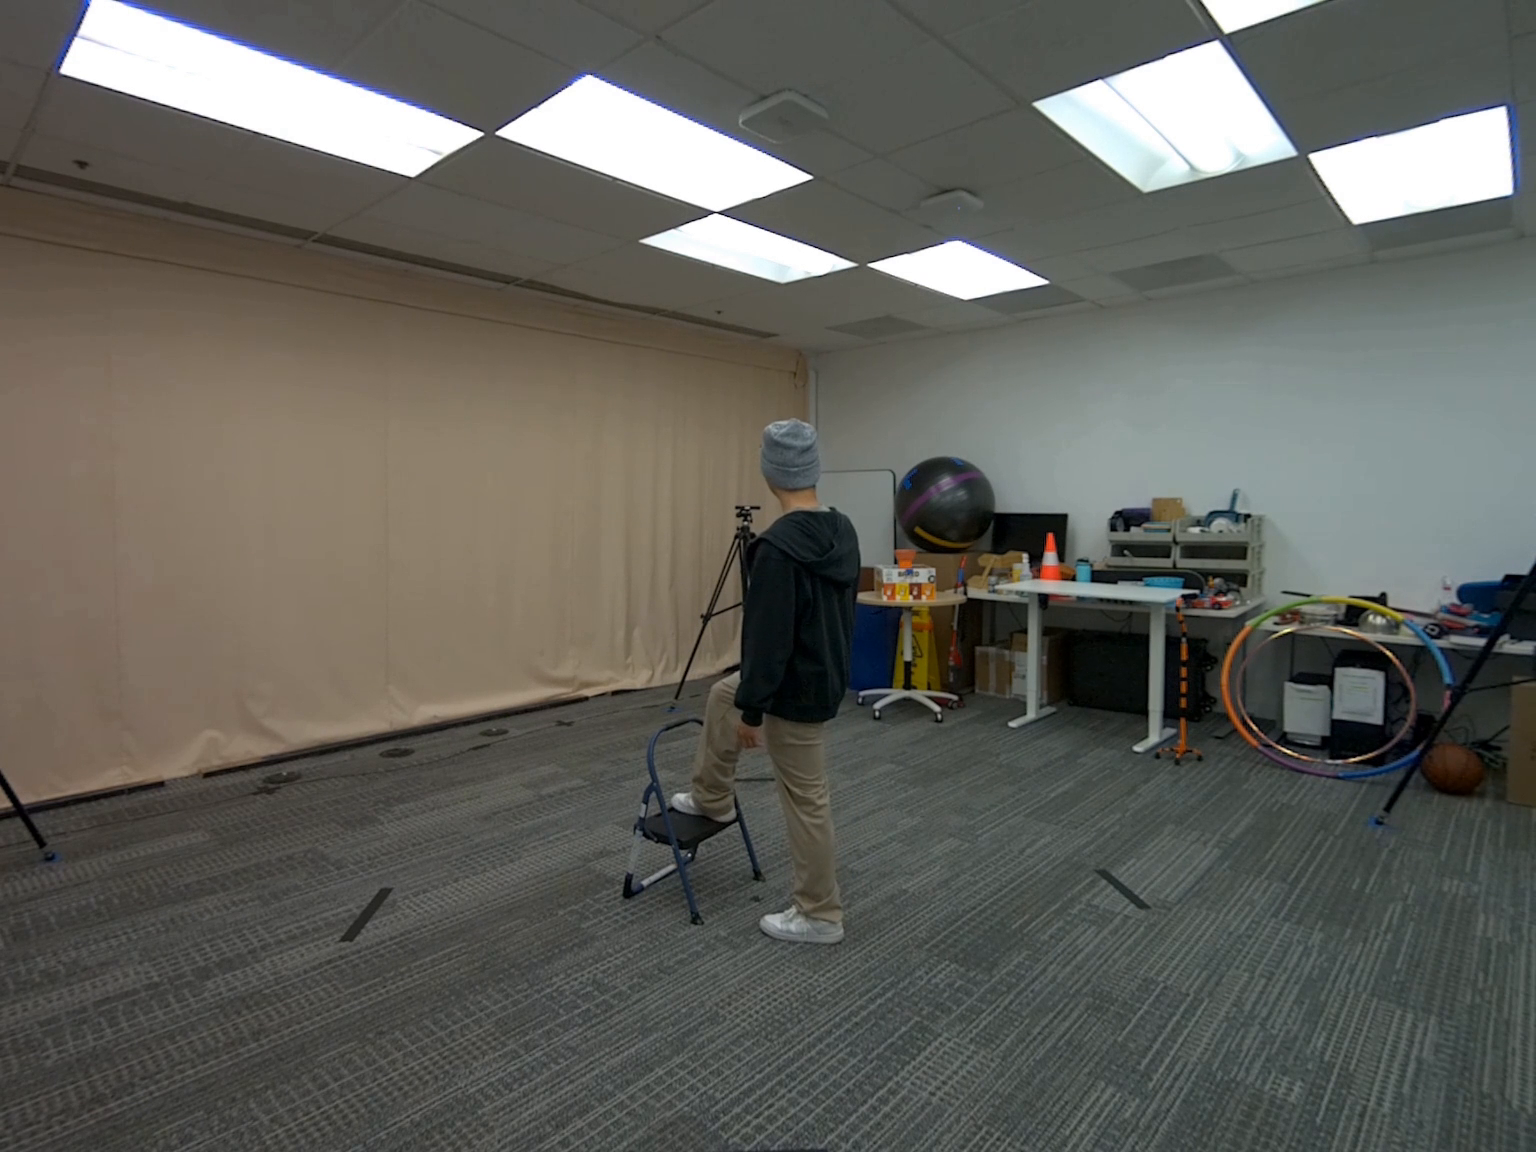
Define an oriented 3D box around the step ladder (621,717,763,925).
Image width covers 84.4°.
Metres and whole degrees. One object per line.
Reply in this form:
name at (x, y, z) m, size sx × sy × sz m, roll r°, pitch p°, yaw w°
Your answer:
step ladder at (-0.269, 0.837, 3.054) m, size 0.360 × 0.605 × 0.419 m, roll 2°, pitch 4°, yaw 32°
